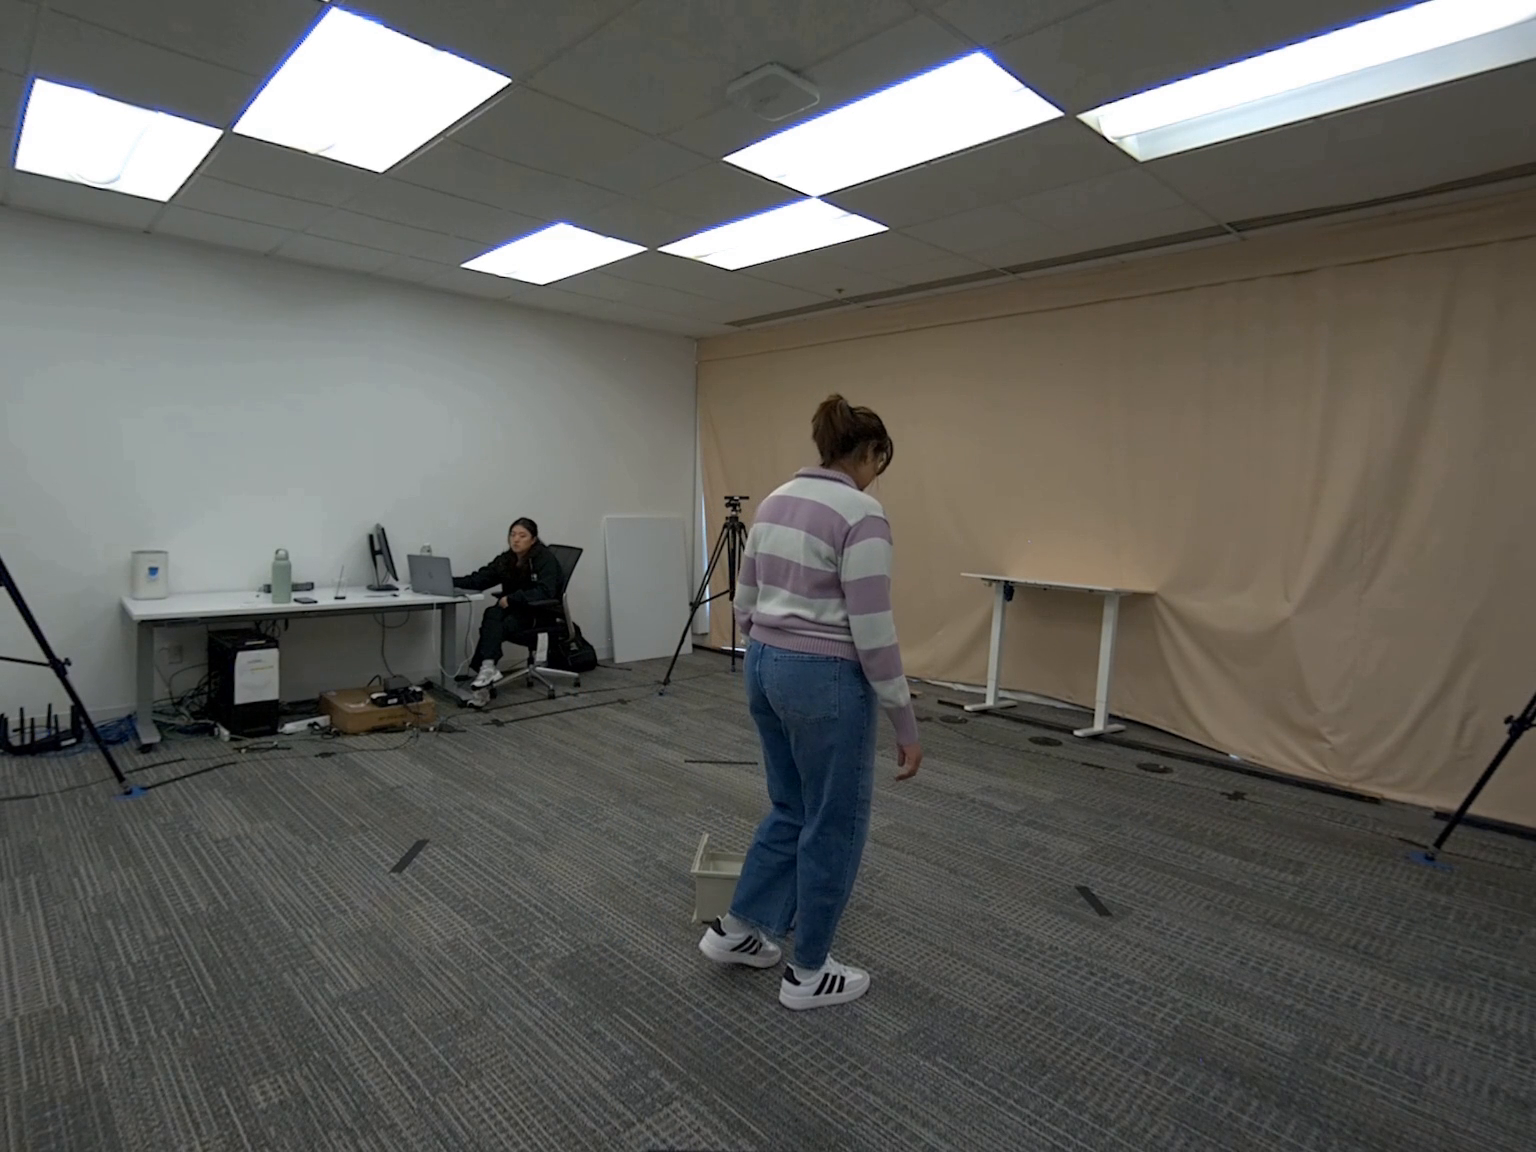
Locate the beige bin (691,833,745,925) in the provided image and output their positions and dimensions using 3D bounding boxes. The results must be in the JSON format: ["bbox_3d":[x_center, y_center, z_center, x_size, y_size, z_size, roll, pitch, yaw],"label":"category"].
[{"bbox_3d":[-0.036,1.038,2.892,0.424,0.188,0.377,2,6,4],"label":"beige bin"}]
